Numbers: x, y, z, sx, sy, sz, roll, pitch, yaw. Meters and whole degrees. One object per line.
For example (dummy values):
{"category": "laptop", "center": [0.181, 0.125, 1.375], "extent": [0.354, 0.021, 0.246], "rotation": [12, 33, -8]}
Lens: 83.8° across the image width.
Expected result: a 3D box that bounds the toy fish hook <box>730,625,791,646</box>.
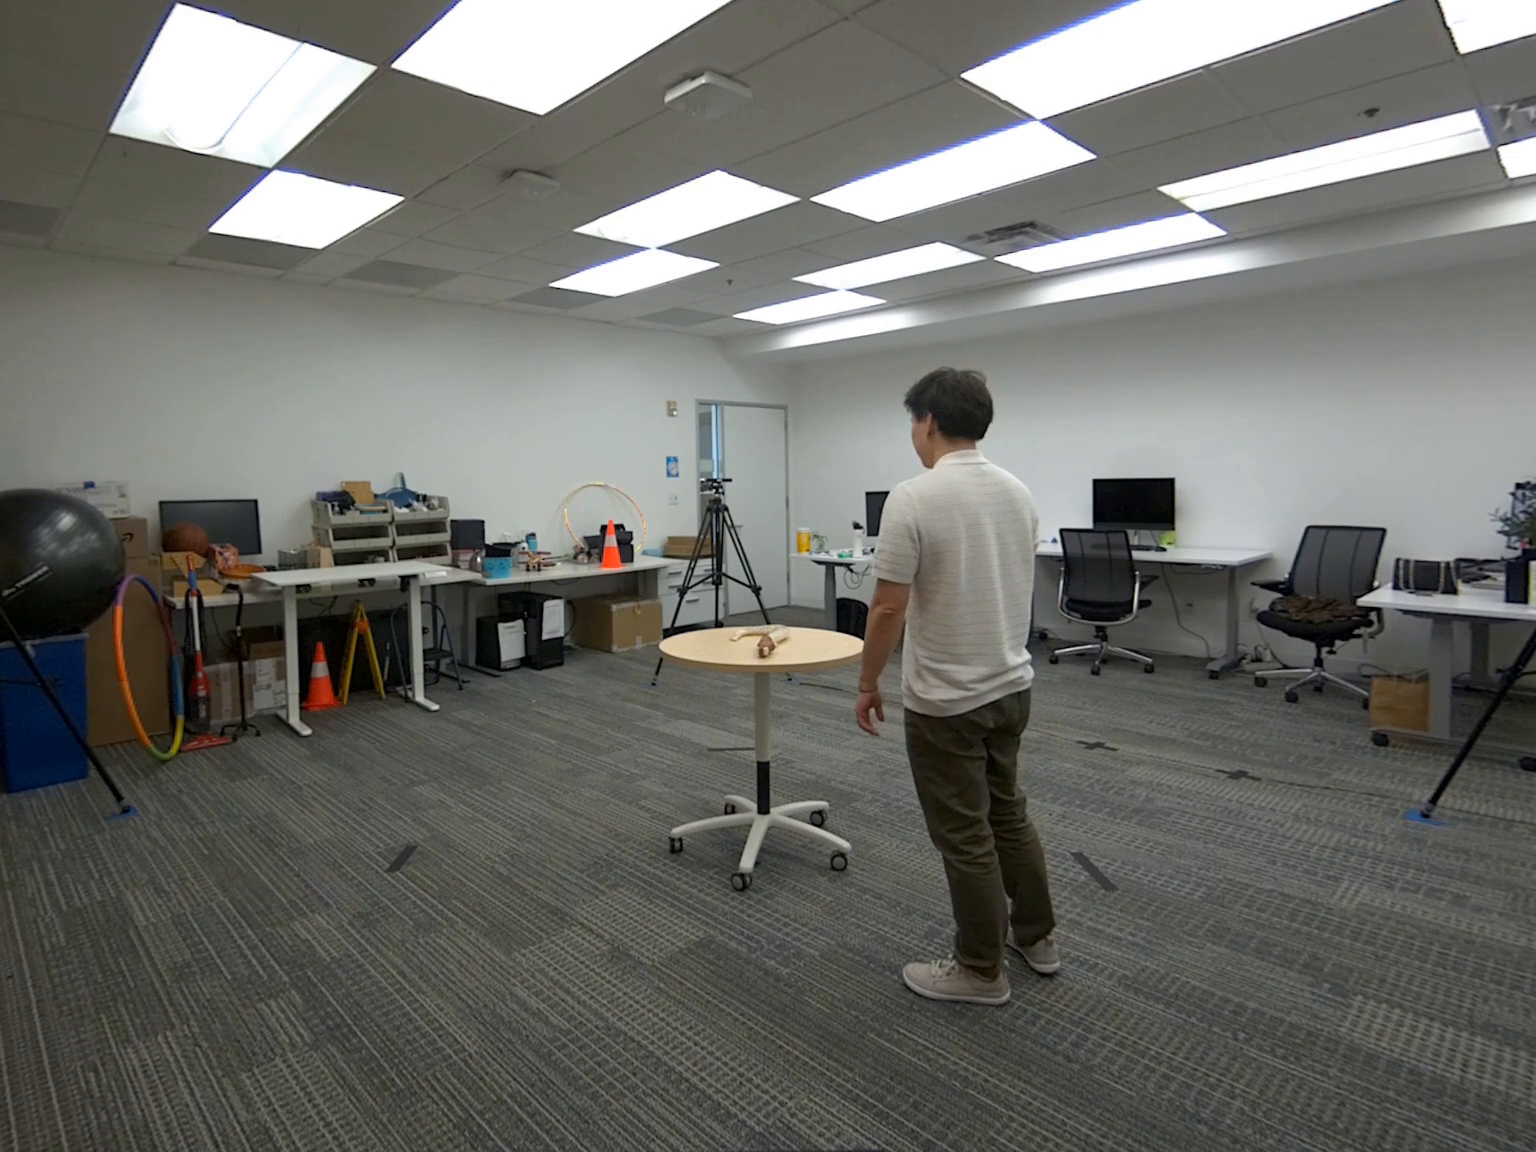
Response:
{"category": "toy fish hook", "center": [-0.047, 0.240, 3.151], "extent": [0.226, 0.048, 0.504], "rotation": [-8, 4, 7]}
